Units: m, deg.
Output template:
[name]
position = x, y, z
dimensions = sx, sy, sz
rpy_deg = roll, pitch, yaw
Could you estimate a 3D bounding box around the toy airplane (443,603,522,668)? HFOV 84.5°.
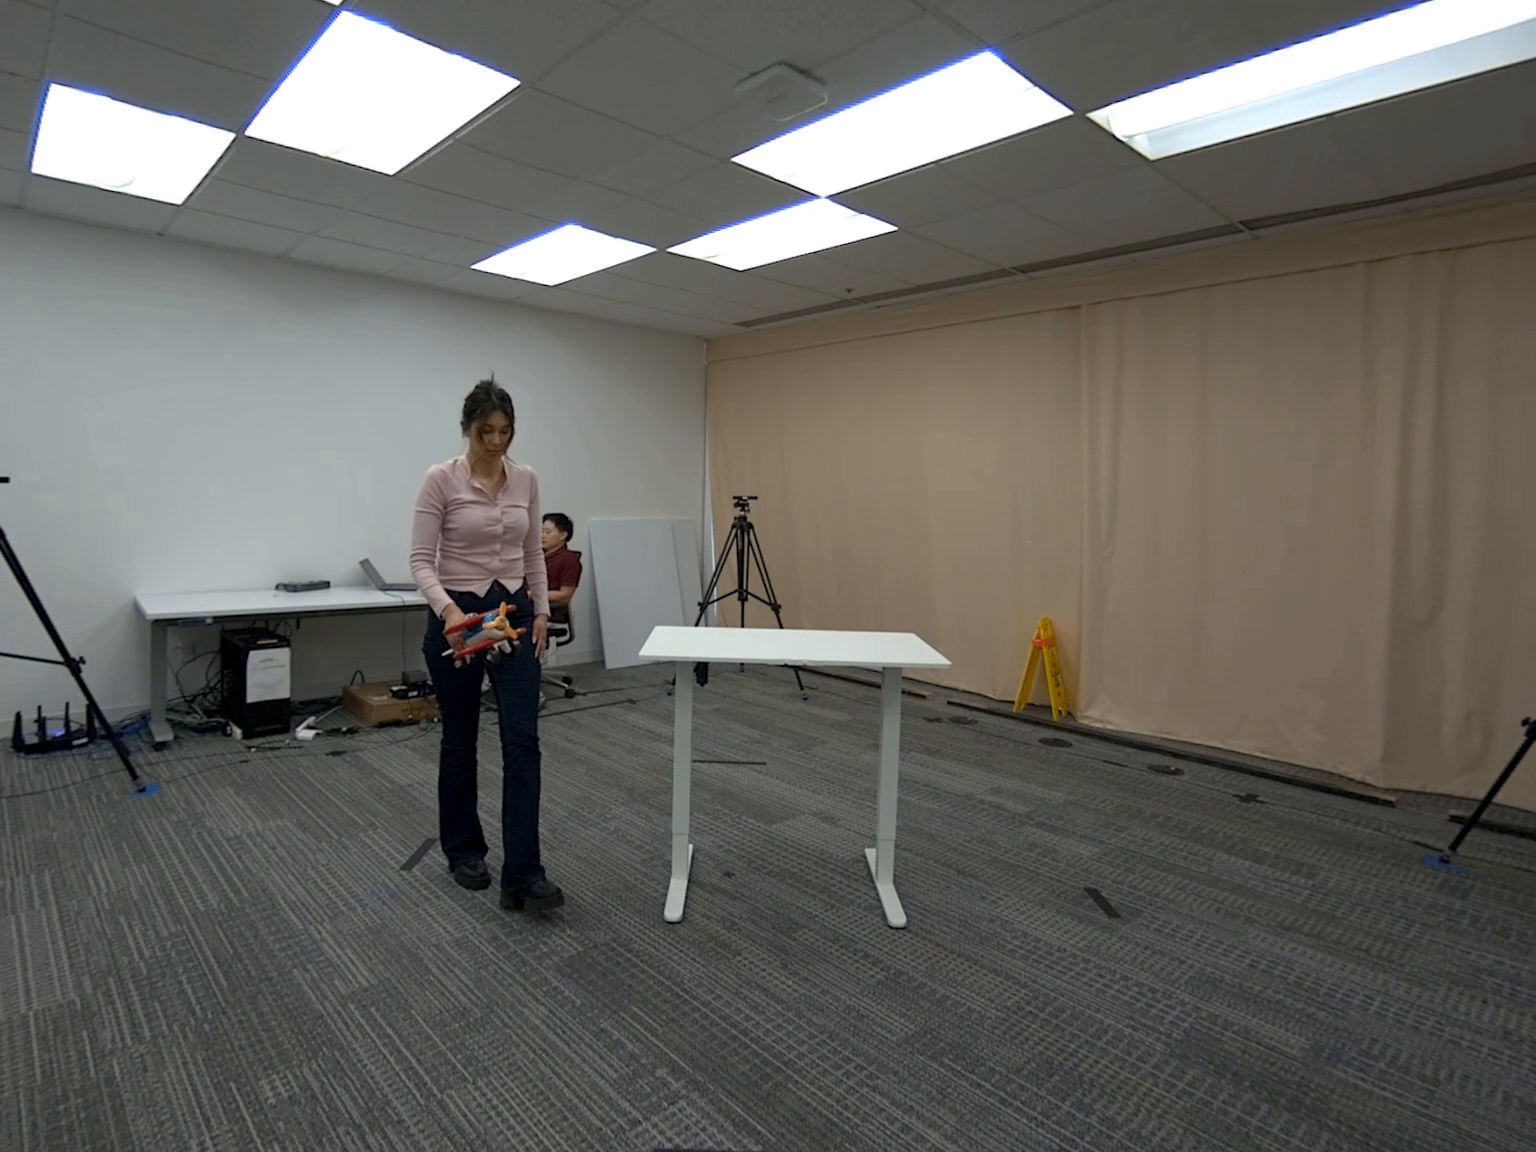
[toy airplane]
position = -0.884, 0.200, 2.545
dimensions = 0.260, 0.155, 0.252
rpy_deg = -13, 6, 3
